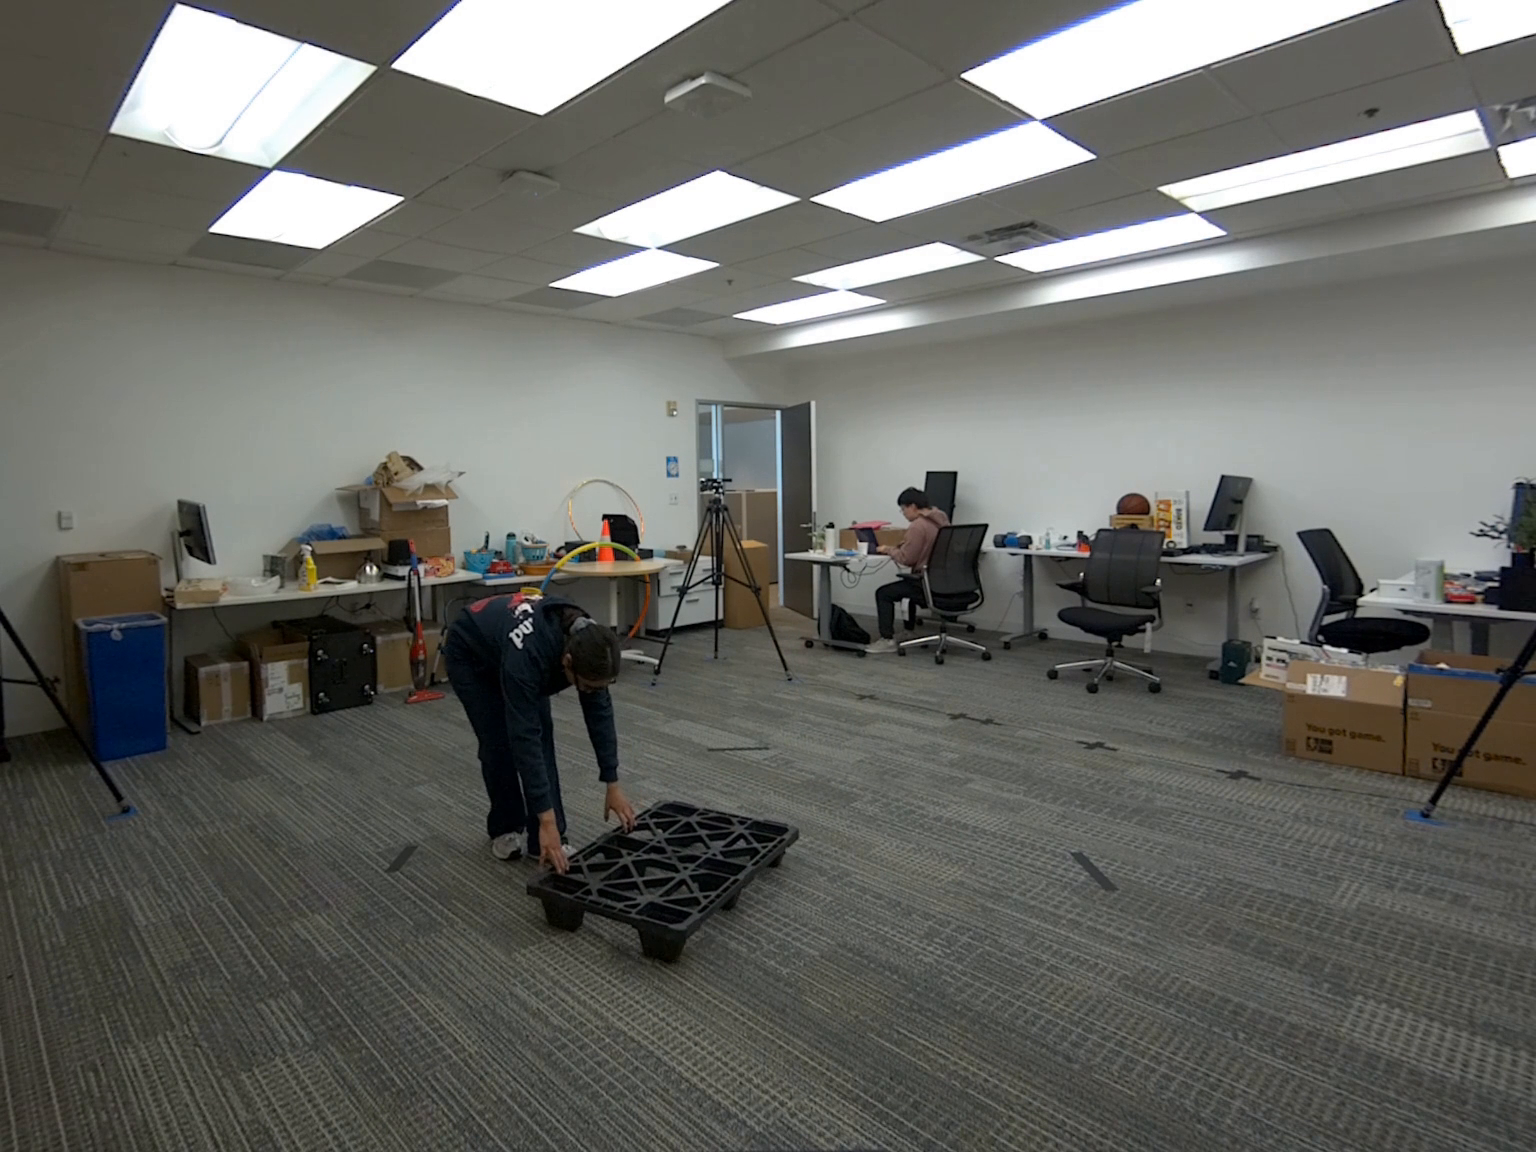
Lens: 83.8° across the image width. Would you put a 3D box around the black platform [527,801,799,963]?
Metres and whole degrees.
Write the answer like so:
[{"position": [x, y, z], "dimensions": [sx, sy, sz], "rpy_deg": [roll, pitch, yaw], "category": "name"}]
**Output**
[{"position": [-0.328, 1.006, 2.895], "dimensions": [0.620, 0.143, 0.789], "rpy_deg": [2, 7, 28], "category": "black platform"}]
